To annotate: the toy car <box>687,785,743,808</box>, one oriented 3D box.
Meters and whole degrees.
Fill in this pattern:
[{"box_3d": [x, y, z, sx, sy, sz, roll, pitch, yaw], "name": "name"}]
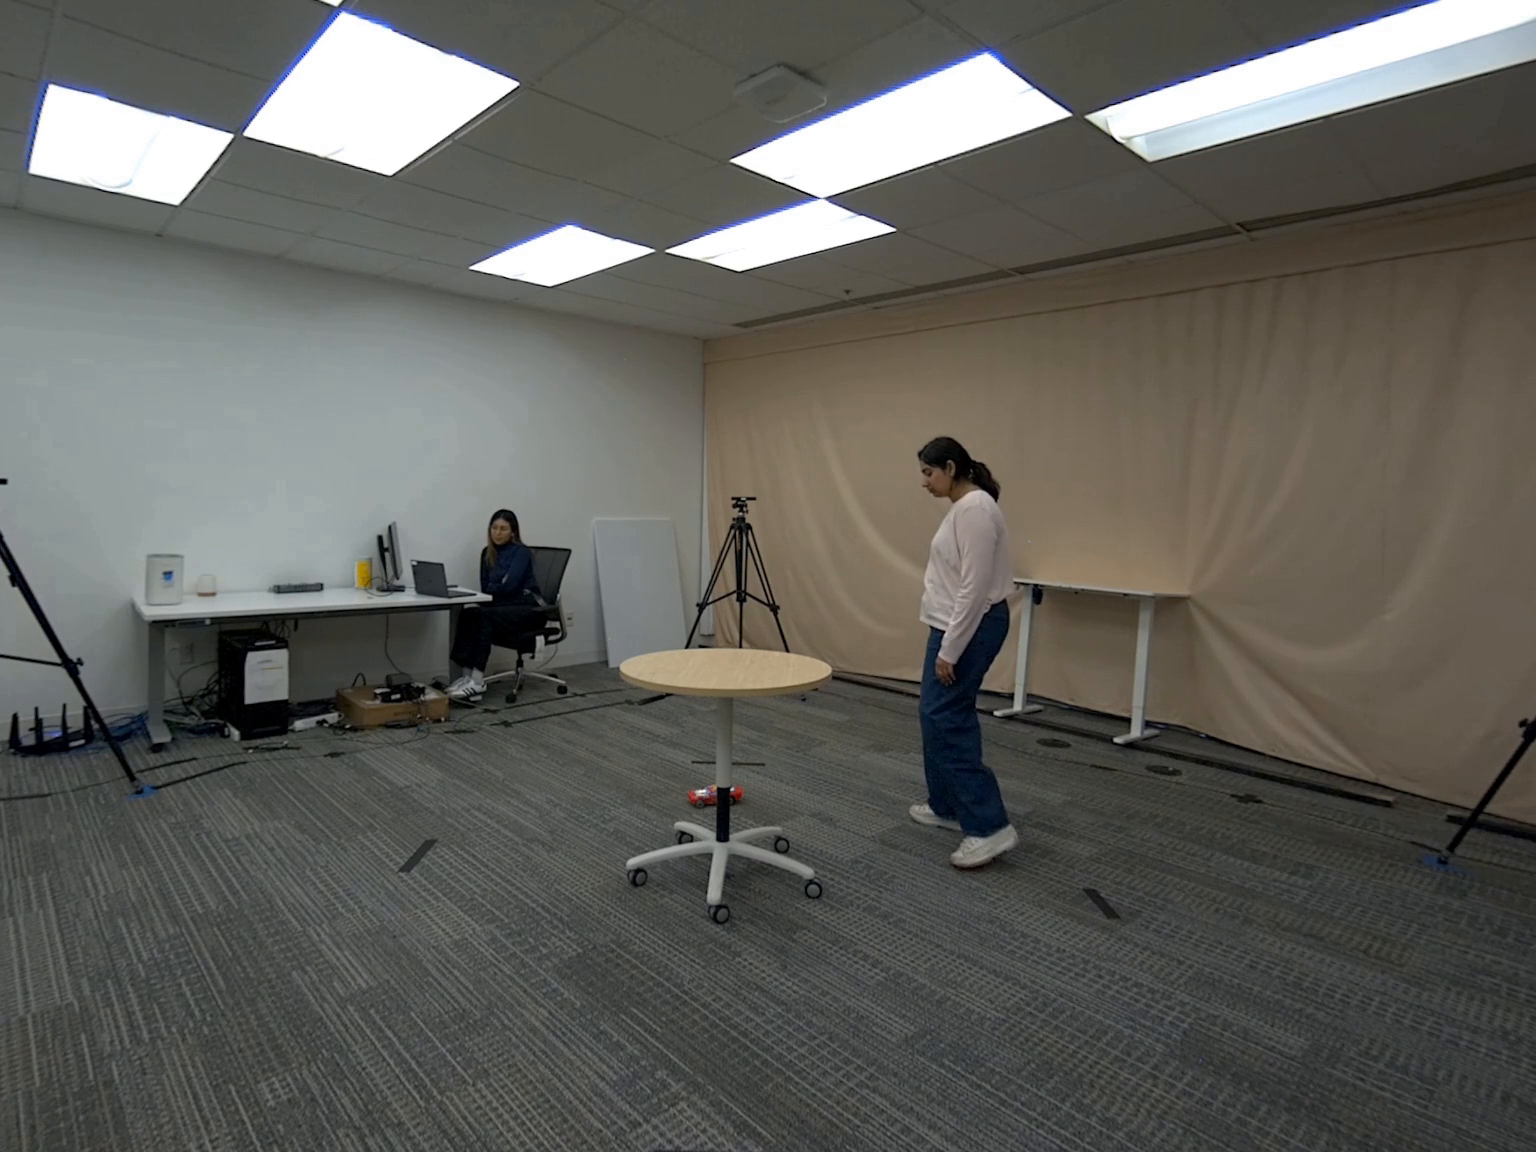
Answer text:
[{"box_3d": [-0.242, 1.006, 3.861, 0.252, 0.083, 0.132, -11, 8, -16], "name": "toy car"}]
